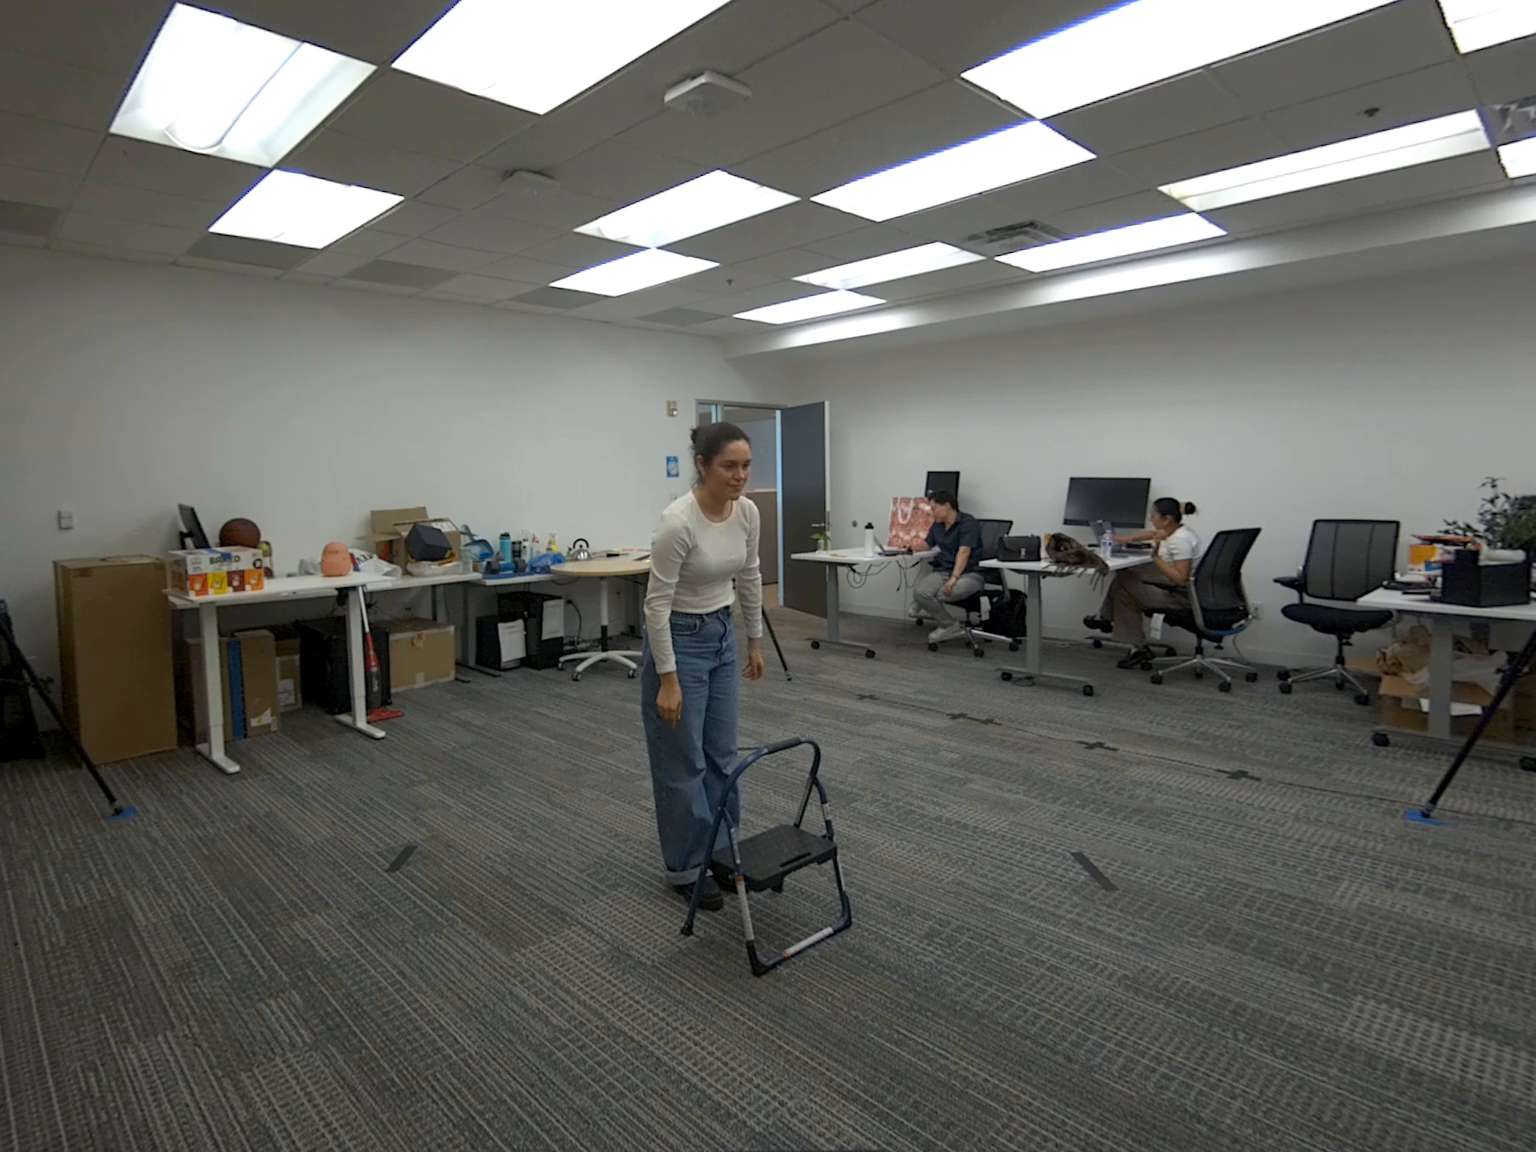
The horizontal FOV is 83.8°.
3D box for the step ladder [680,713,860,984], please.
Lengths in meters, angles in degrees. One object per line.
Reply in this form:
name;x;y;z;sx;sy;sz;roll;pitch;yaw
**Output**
step ladder;0.000;0.797;2.634;0.419;0.603;0.360;-6;7;-43
